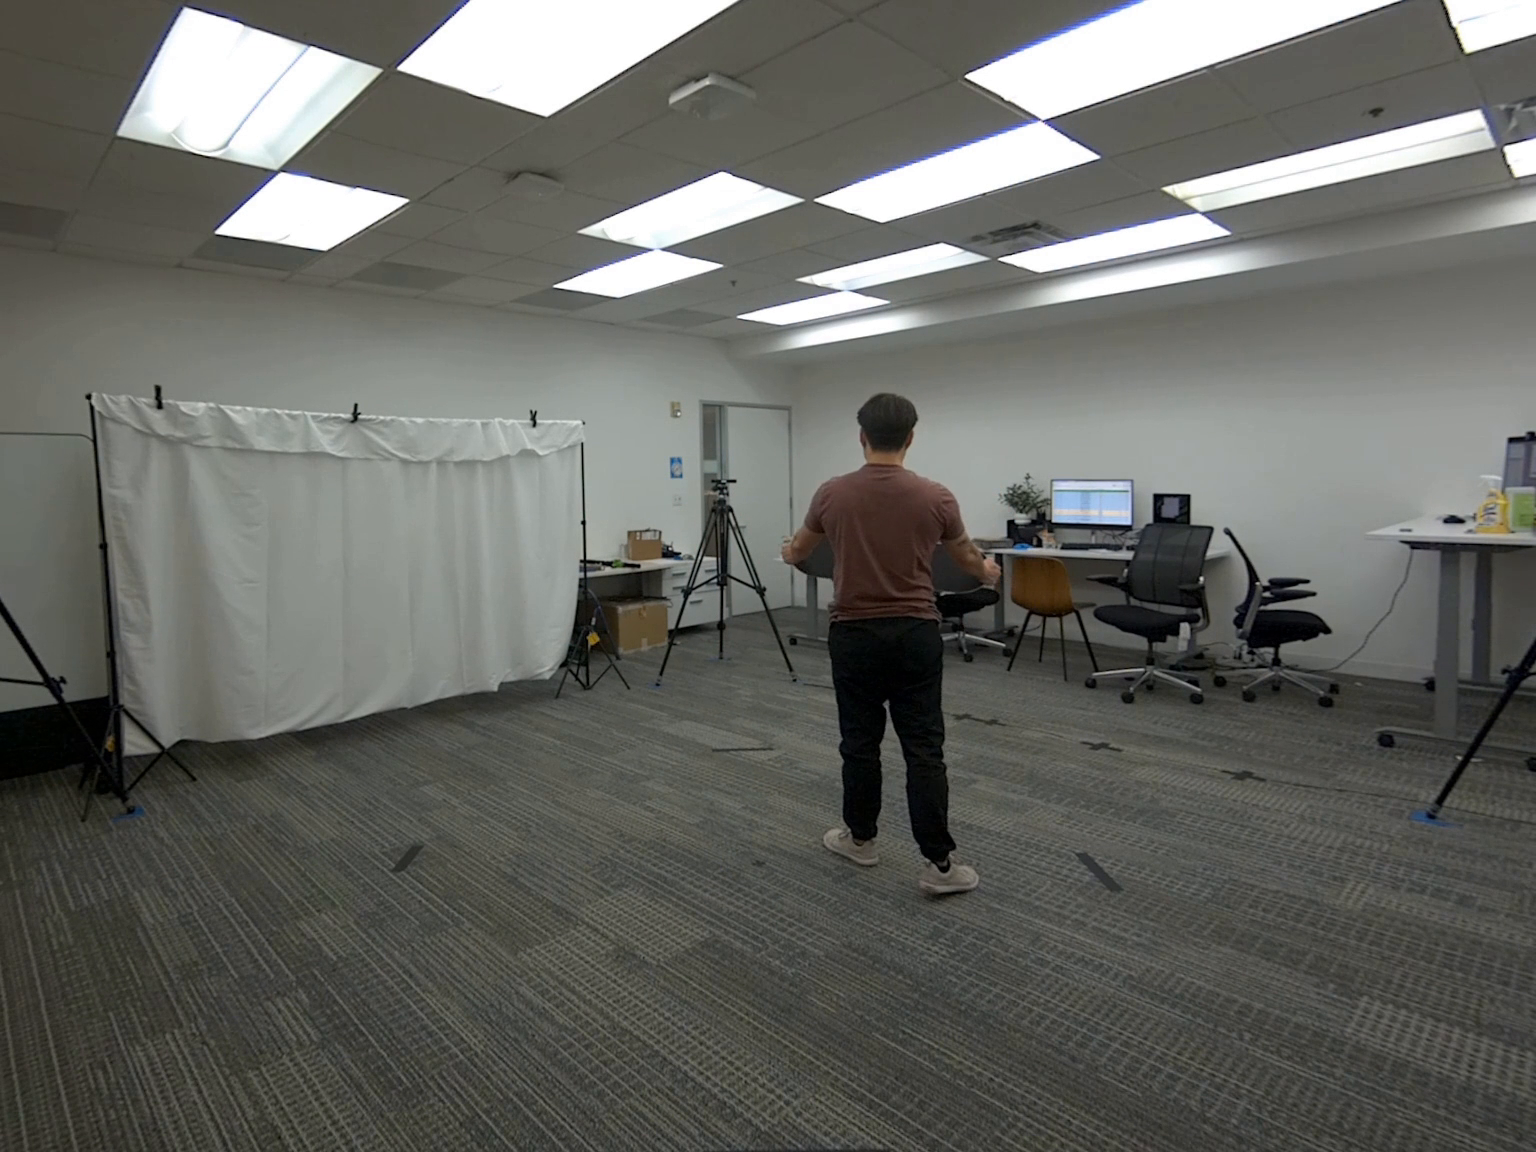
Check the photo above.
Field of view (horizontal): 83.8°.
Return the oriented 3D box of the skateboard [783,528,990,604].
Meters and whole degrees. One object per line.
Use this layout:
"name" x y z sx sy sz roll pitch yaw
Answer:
"skateboard" 0.469 -0.045 3.450 0.796 0.196 0.107 7 -17 12
